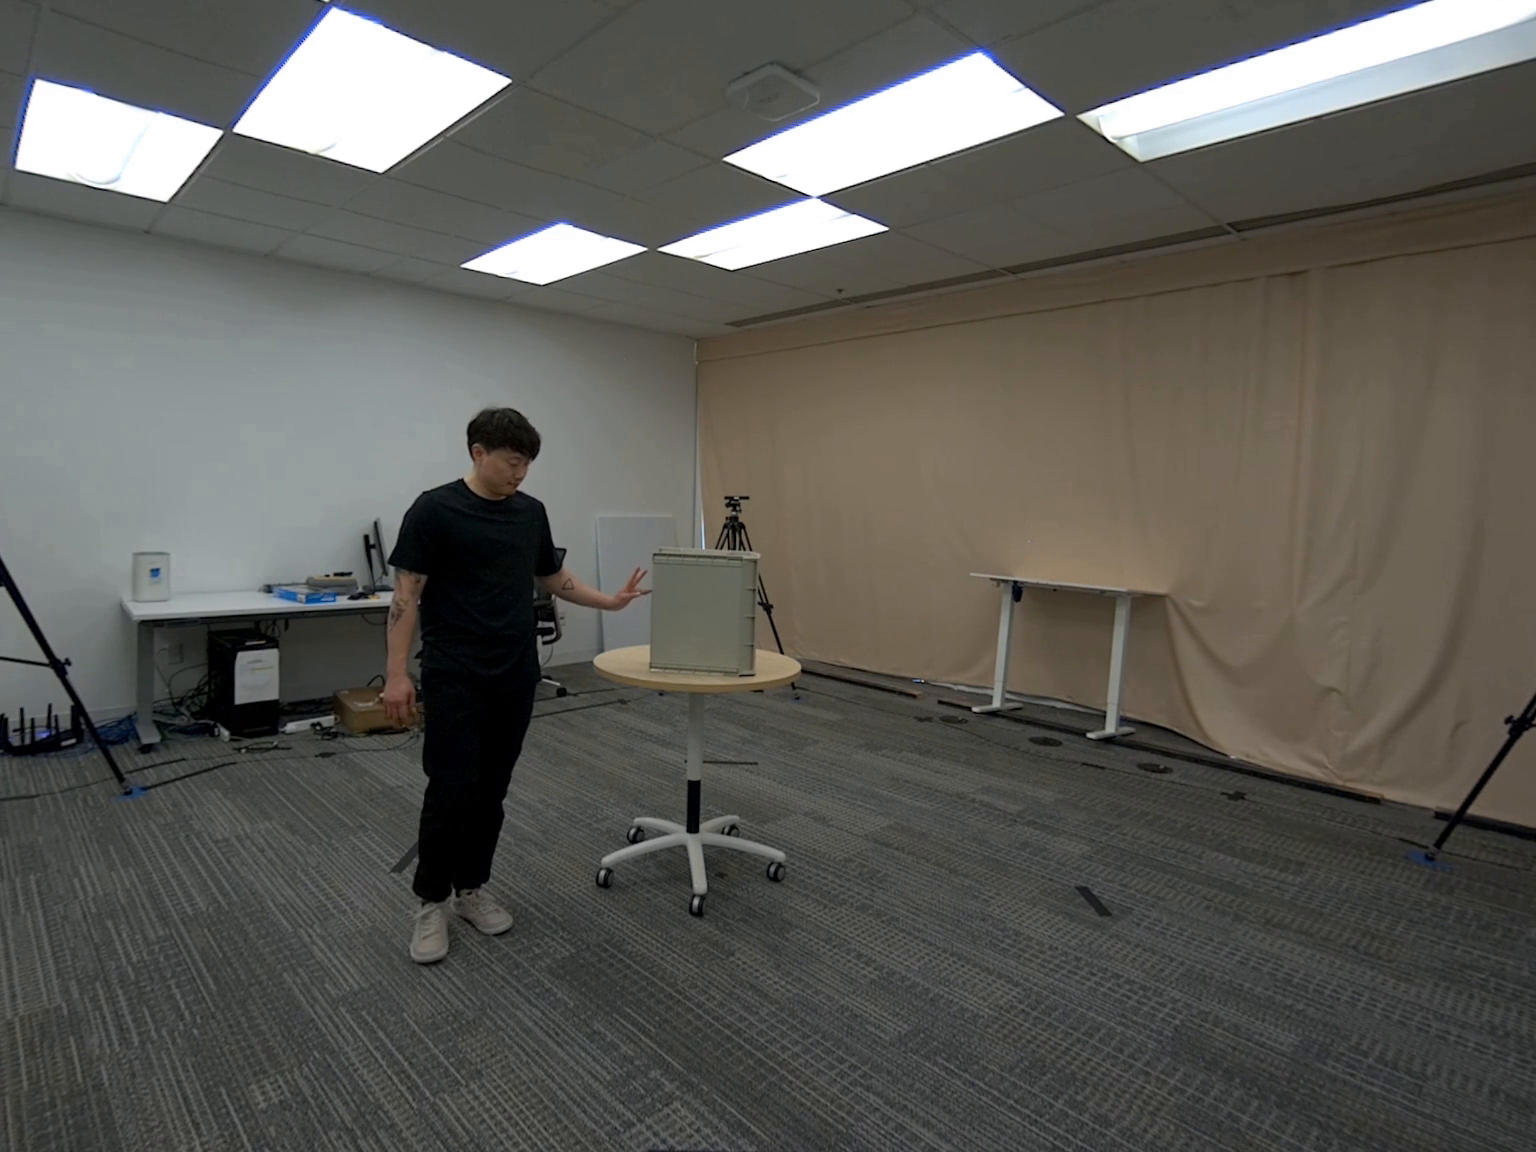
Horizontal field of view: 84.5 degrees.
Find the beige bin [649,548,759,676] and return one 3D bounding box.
[{"bbox_3d":[-0.228,0.124,2.956,0.379,0.421,0.188,3,4,5],"label":"beige bin"}]
